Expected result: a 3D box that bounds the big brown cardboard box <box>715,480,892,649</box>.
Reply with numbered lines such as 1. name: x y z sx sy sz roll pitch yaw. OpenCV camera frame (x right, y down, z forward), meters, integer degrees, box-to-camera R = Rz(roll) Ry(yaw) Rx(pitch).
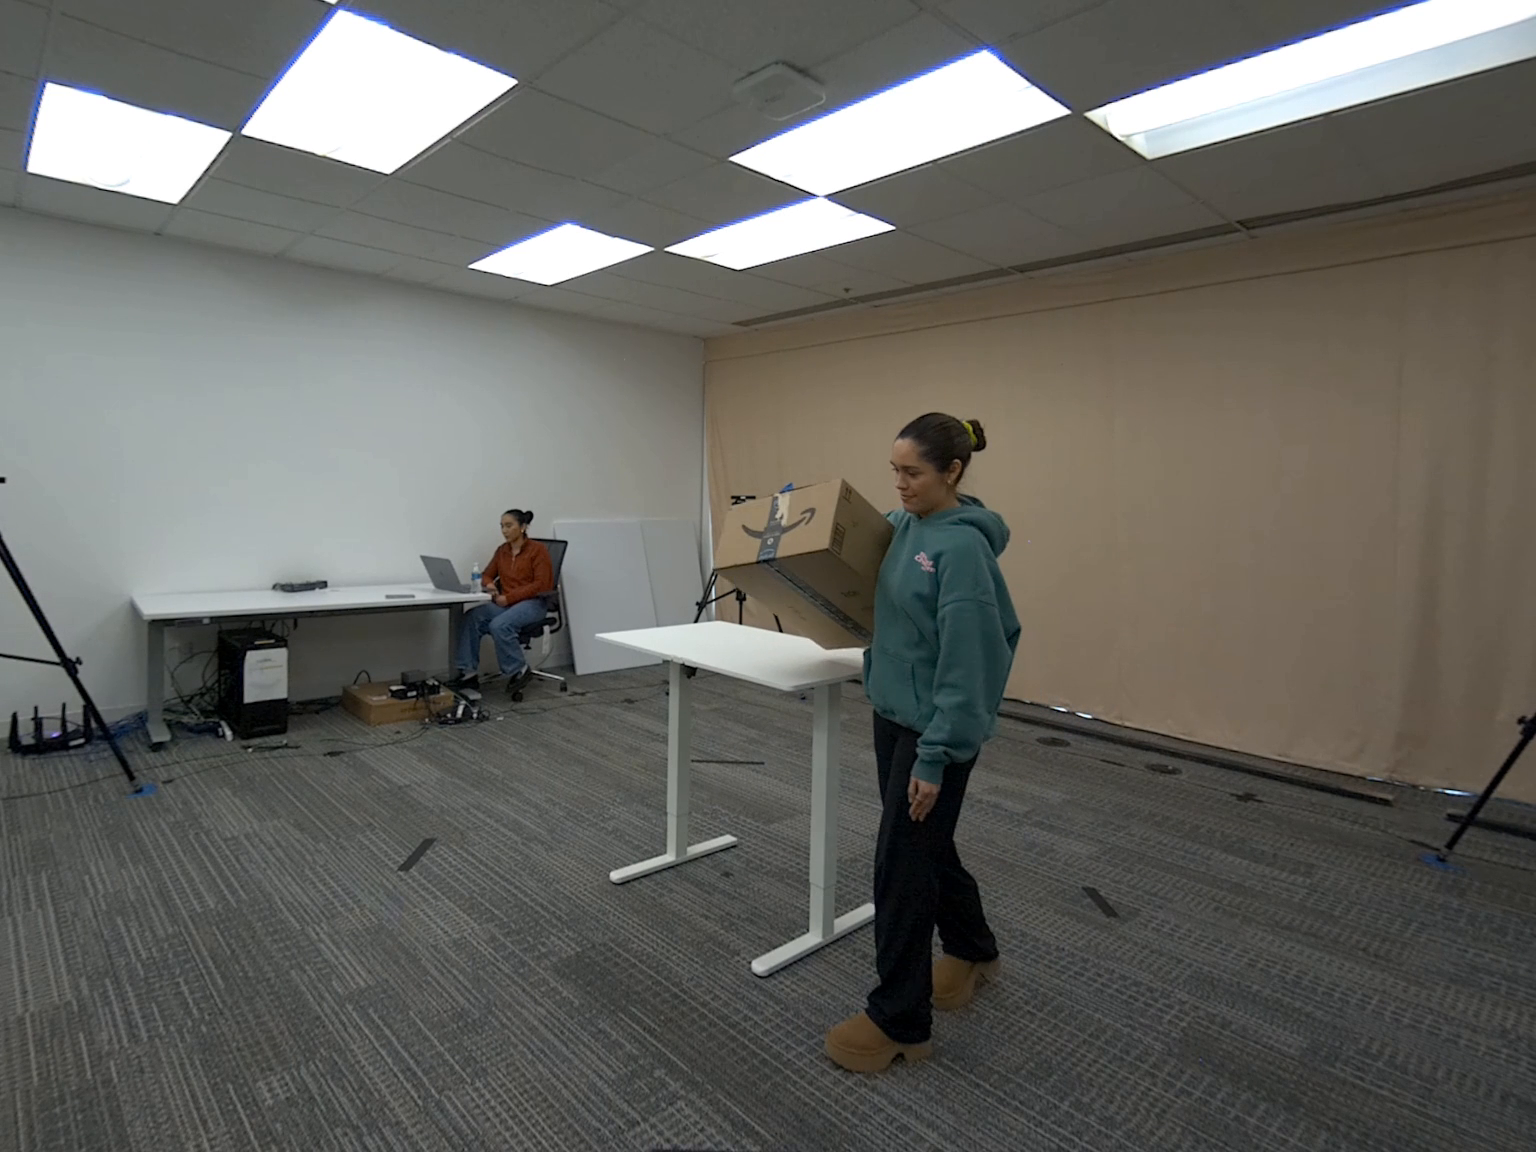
1. big brown cardboard box: 0.193 -0.005 2.455 0.425 0.236 0.571 -10 -34 41
